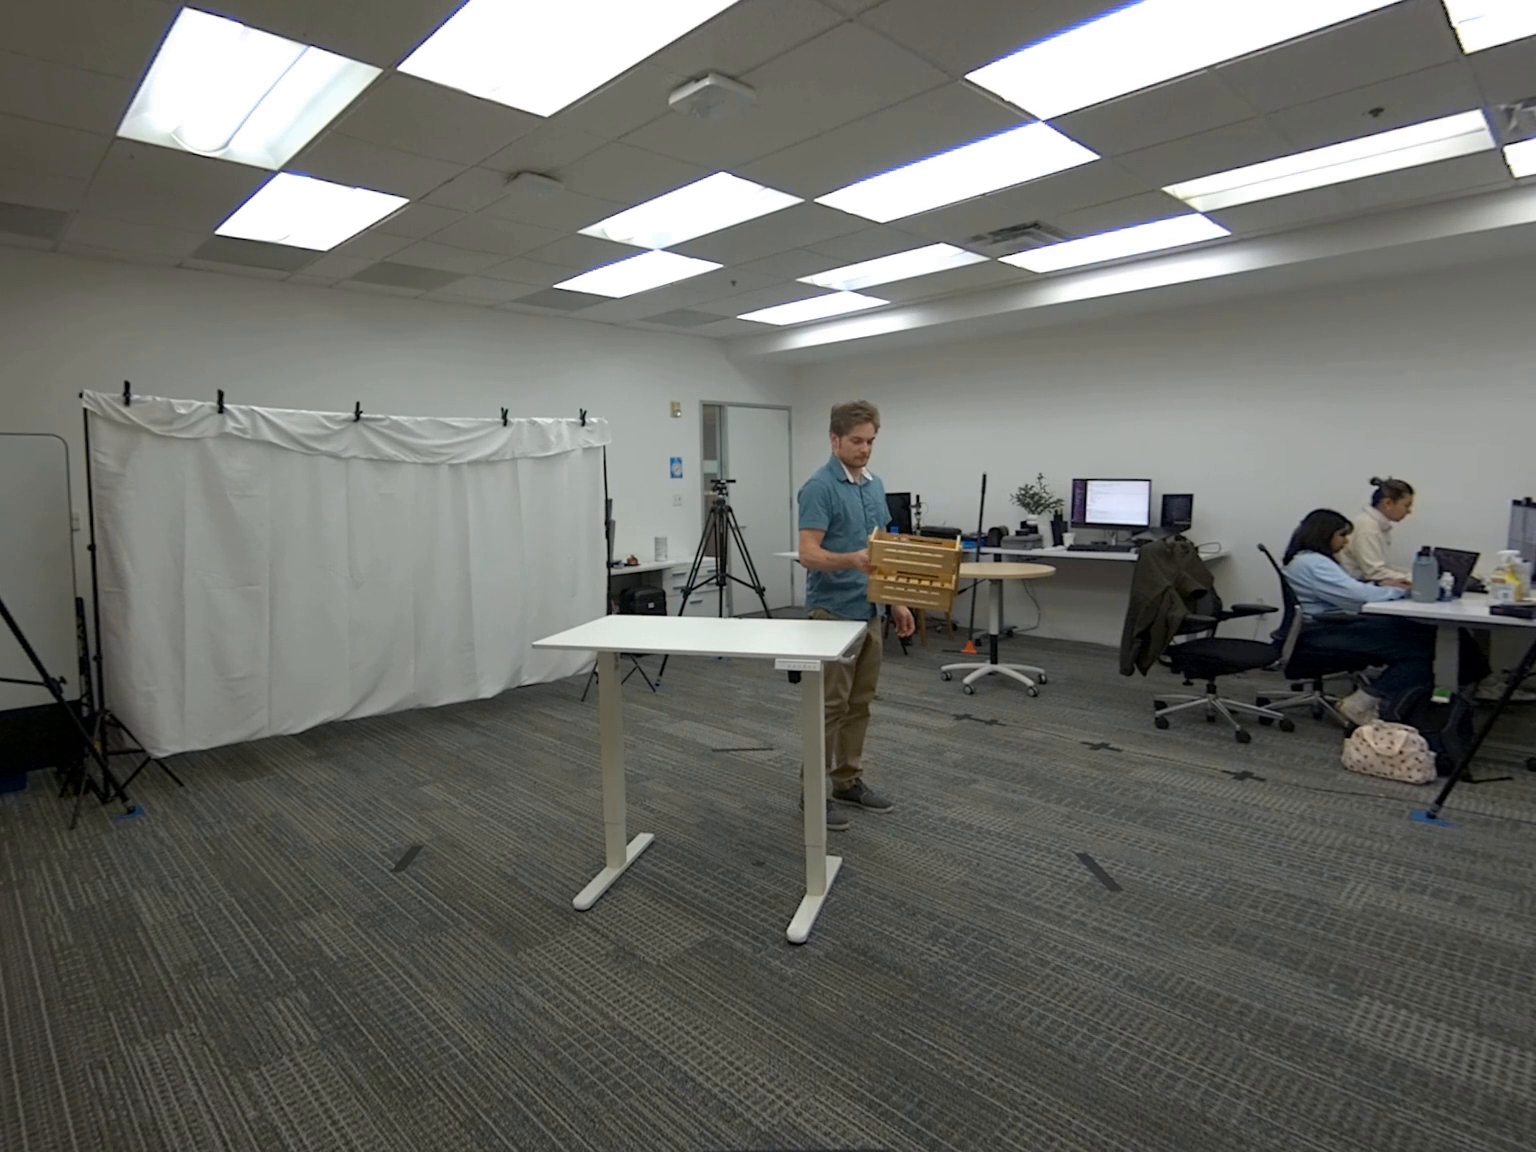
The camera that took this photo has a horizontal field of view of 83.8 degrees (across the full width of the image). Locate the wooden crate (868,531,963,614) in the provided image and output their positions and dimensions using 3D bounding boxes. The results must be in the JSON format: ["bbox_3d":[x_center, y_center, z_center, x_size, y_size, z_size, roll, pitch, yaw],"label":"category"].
[{"bbox_3d":[0.538,-0.046,3.142,0.330,0.268,0.303,7,23,14],"label":"wooden crate"}]
